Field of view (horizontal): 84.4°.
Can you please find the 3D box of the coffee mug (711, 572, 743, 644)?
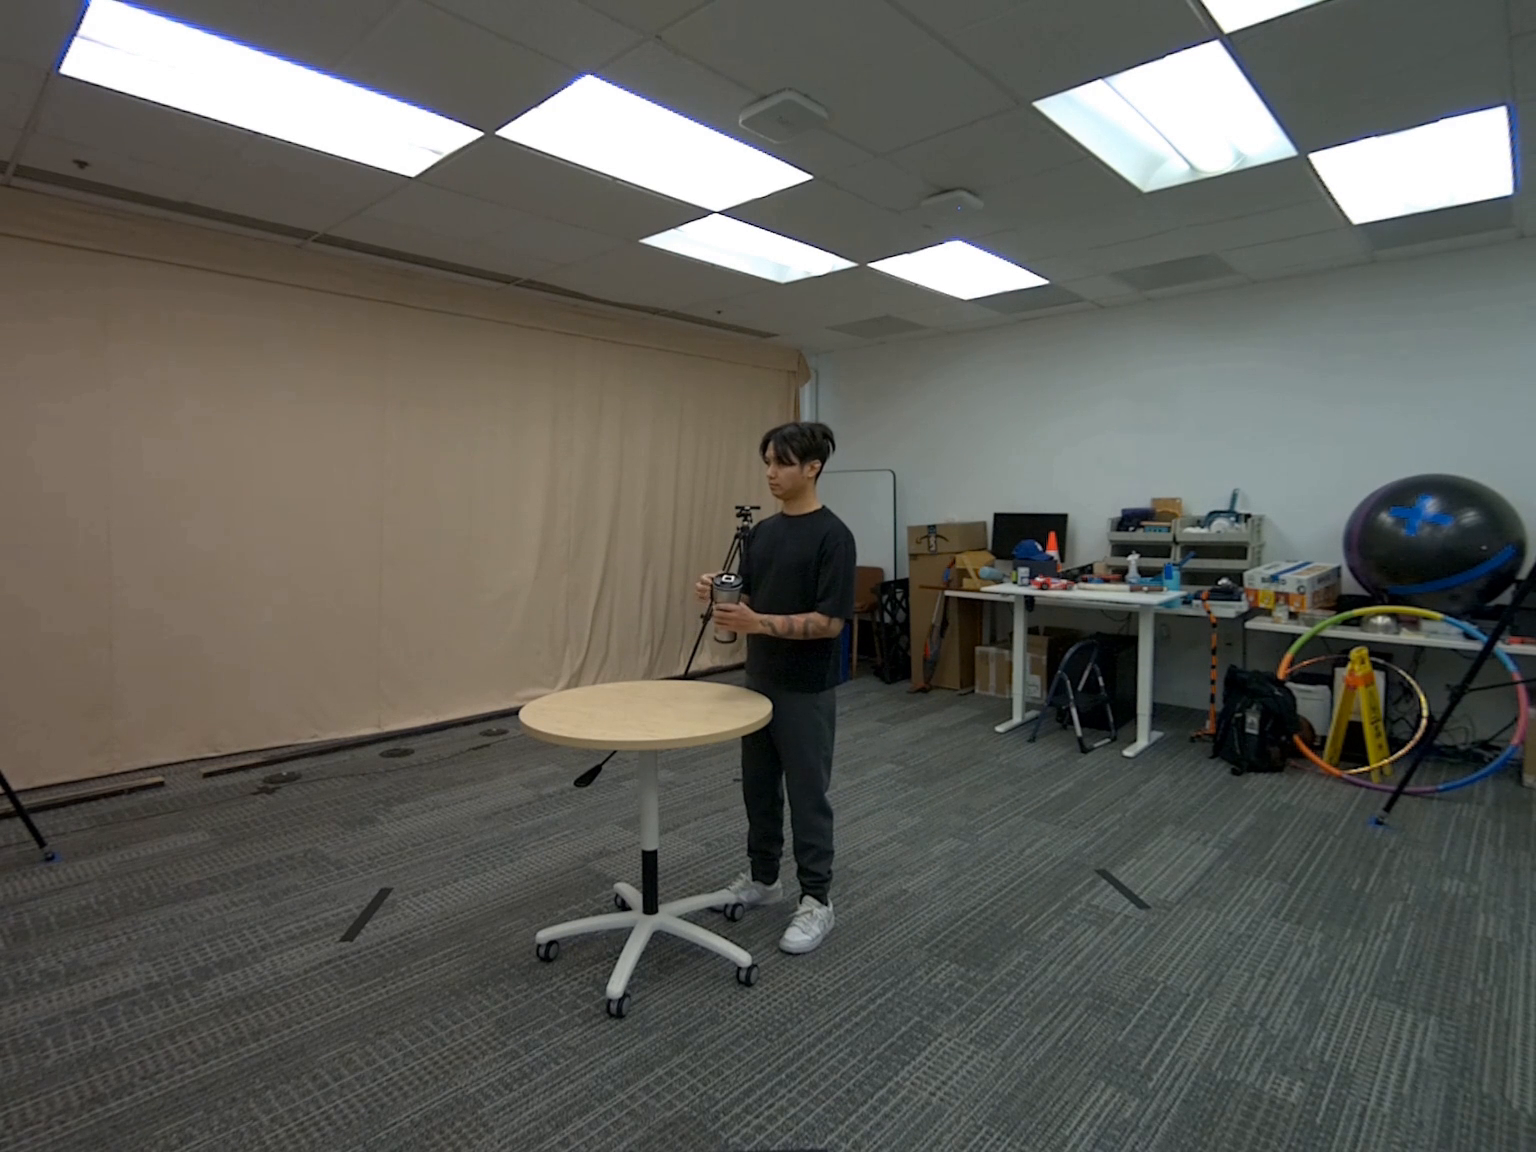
[{"bbox_3d":[-0.109,0.098,2.580,0.091,0.200,0.119,10,22,35],"label":"coffee mug"}]
